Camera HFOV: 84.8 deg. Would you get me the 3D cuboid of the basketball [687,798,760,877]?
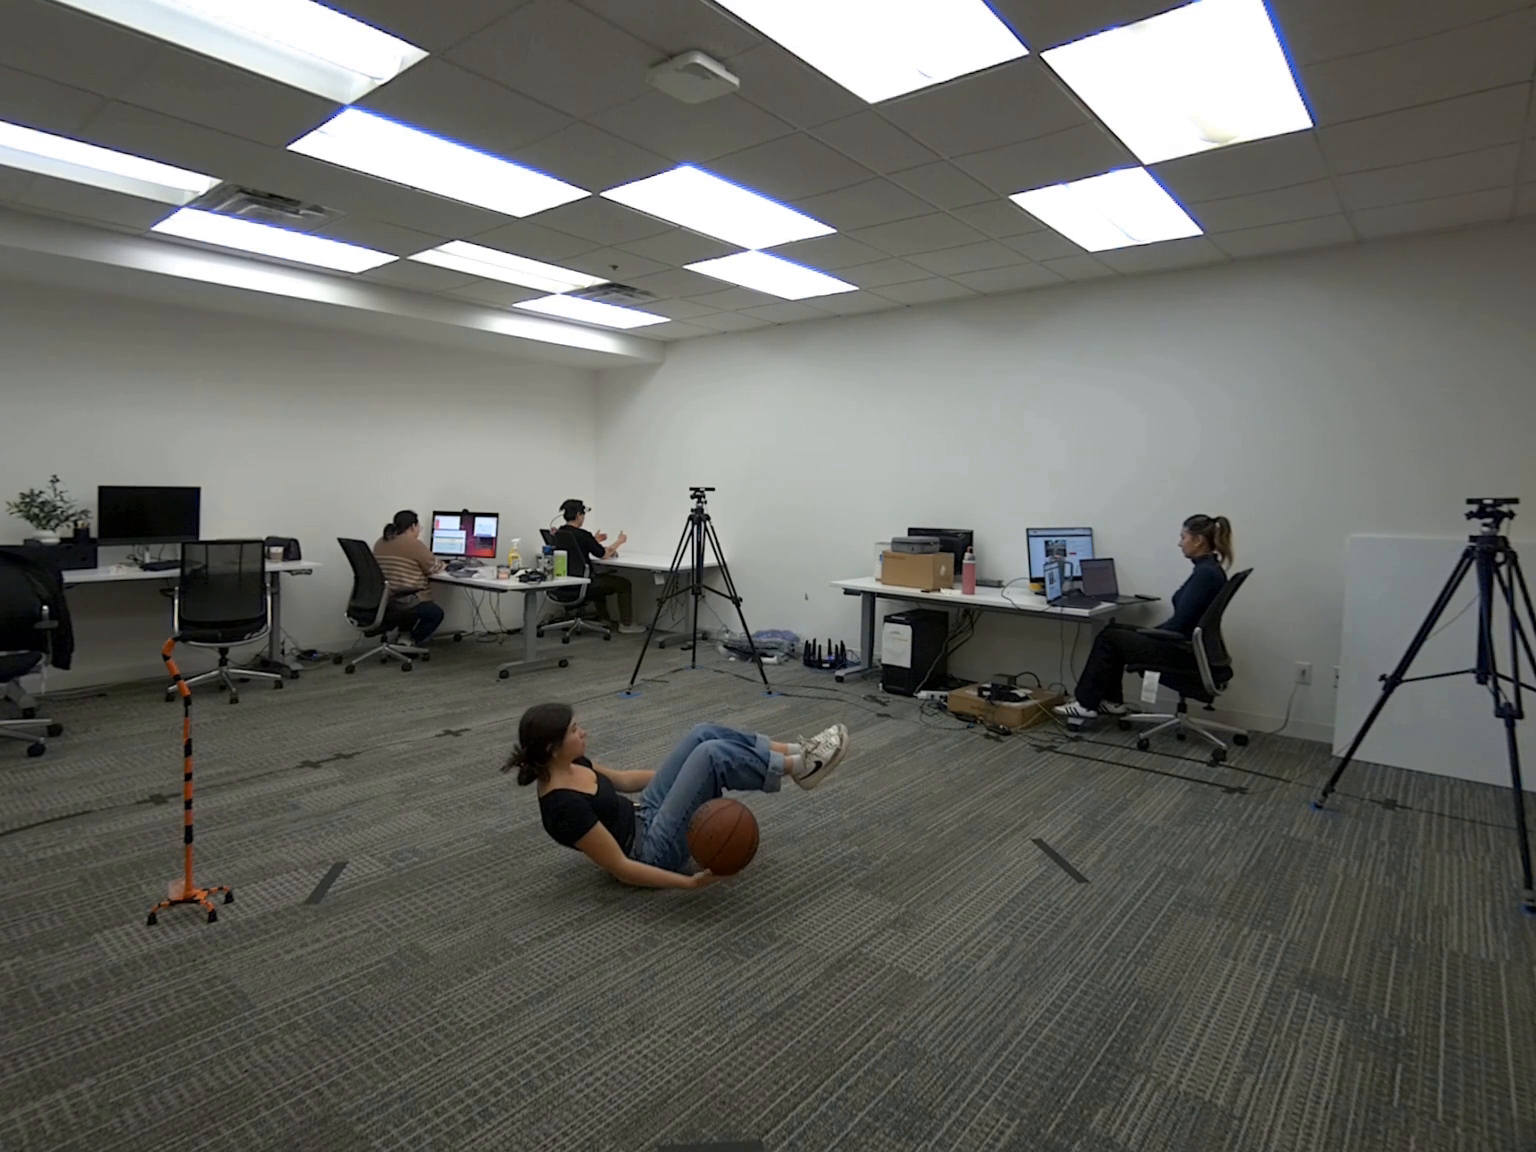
[{"bbox_3d":[-0.153,0.841,2.807,0.235,0.235,0.237,1,4,-2],"label":"basketball"}]
